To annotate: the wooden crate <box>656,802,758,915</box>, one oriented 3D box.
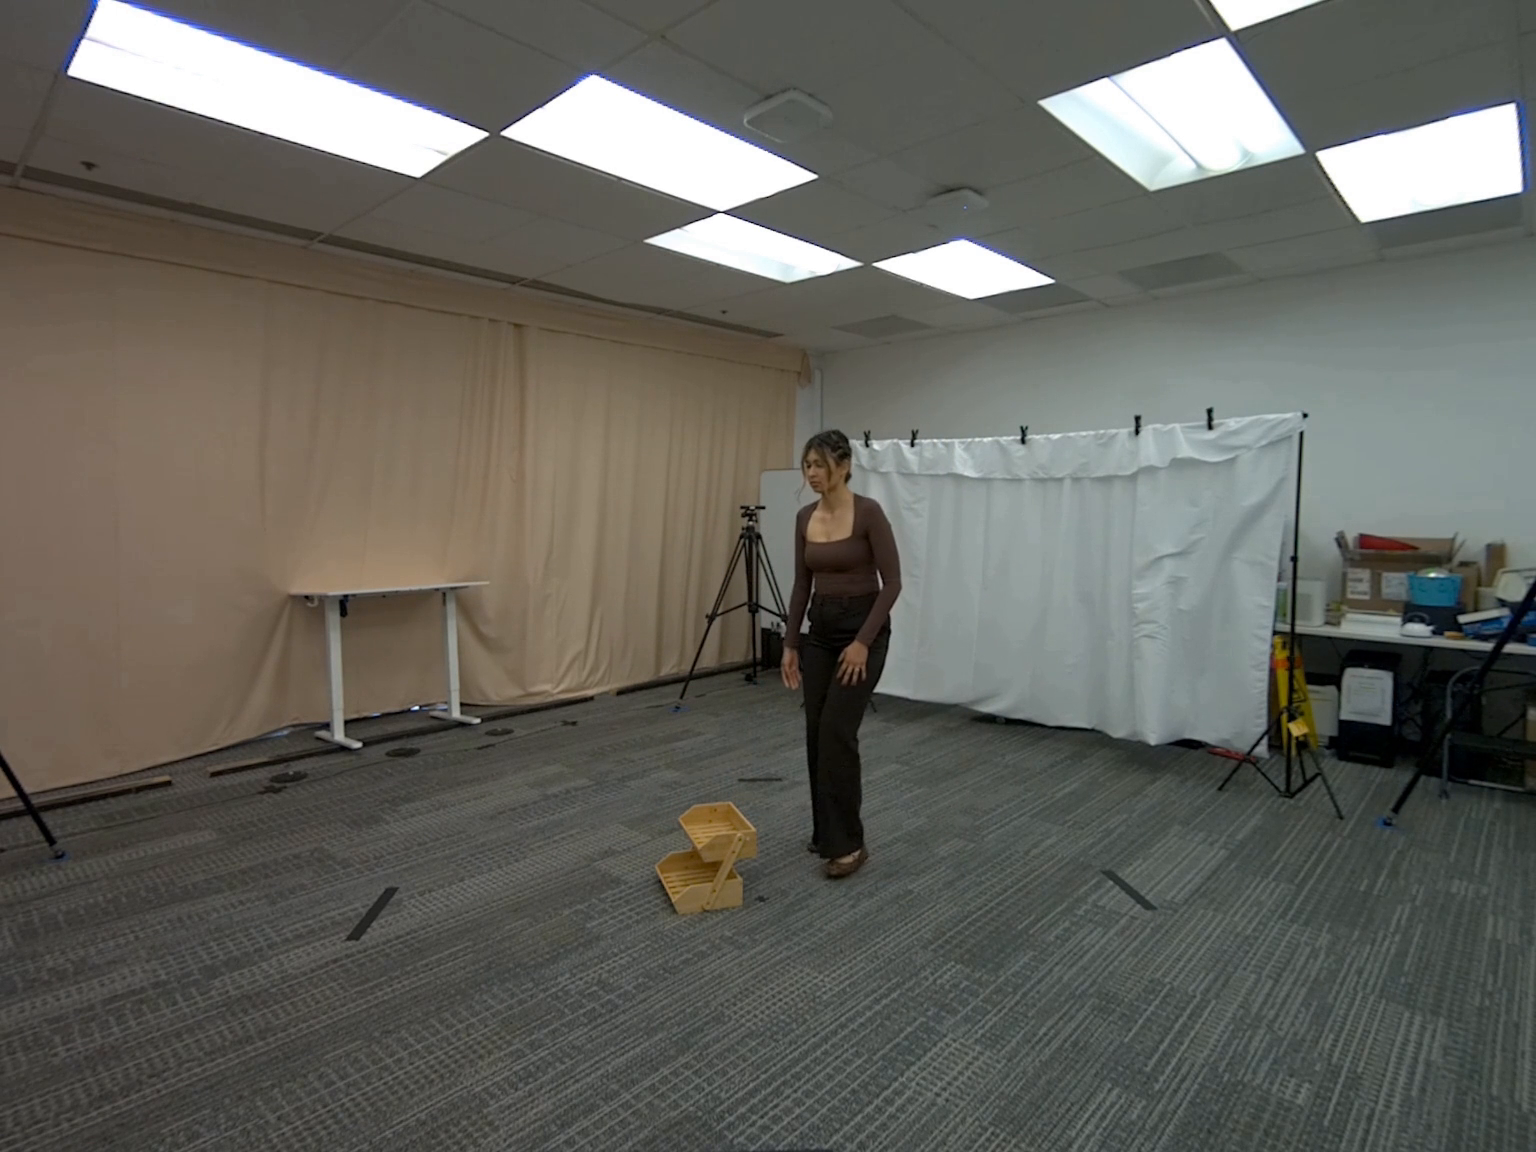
[{"bbox_3d":[-0.235,1.008,3.044,0.297,0.273,0.331,-1,4,-18],"label":"wooden crate"}]
